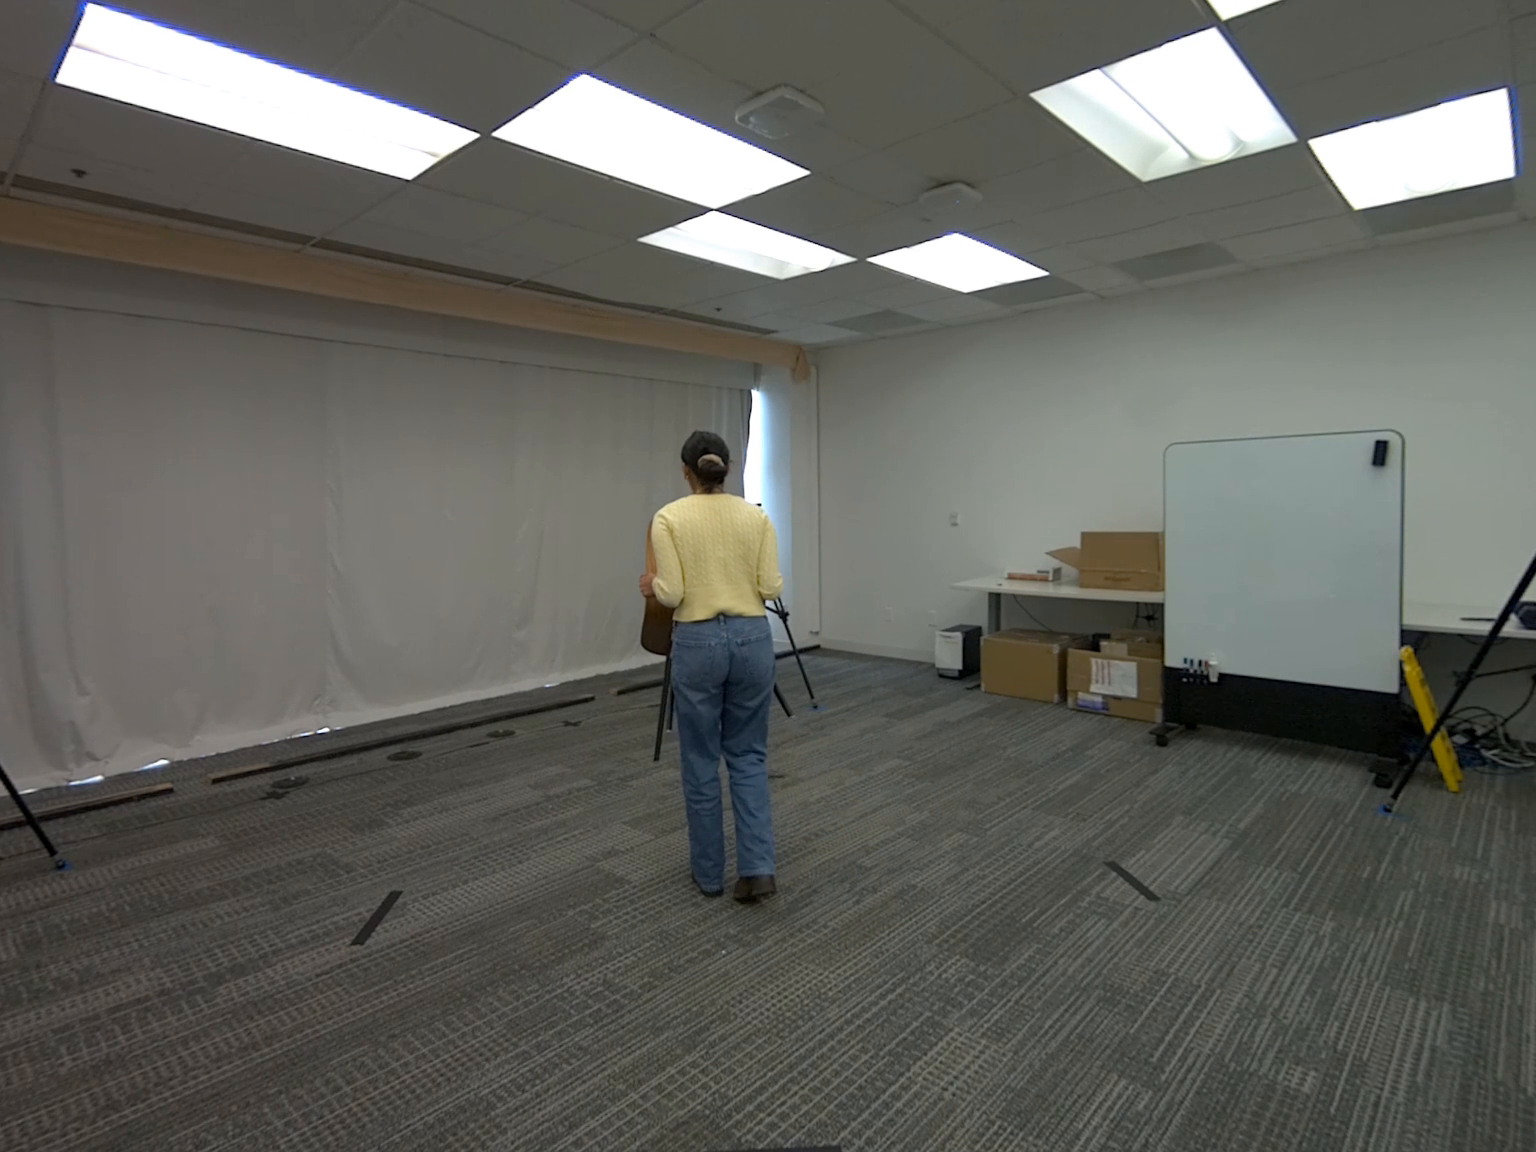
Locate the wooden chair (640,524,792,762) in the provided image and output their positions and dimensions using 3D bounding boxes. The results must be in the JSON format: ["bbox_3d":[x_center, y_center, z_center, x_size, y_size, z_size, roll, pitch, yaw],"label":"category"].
[{"bbox_3d":[-0.264,0.221,3.261,0.471,0.891,0.522,-4,-21,-14],"label":"wooden chair"}]
